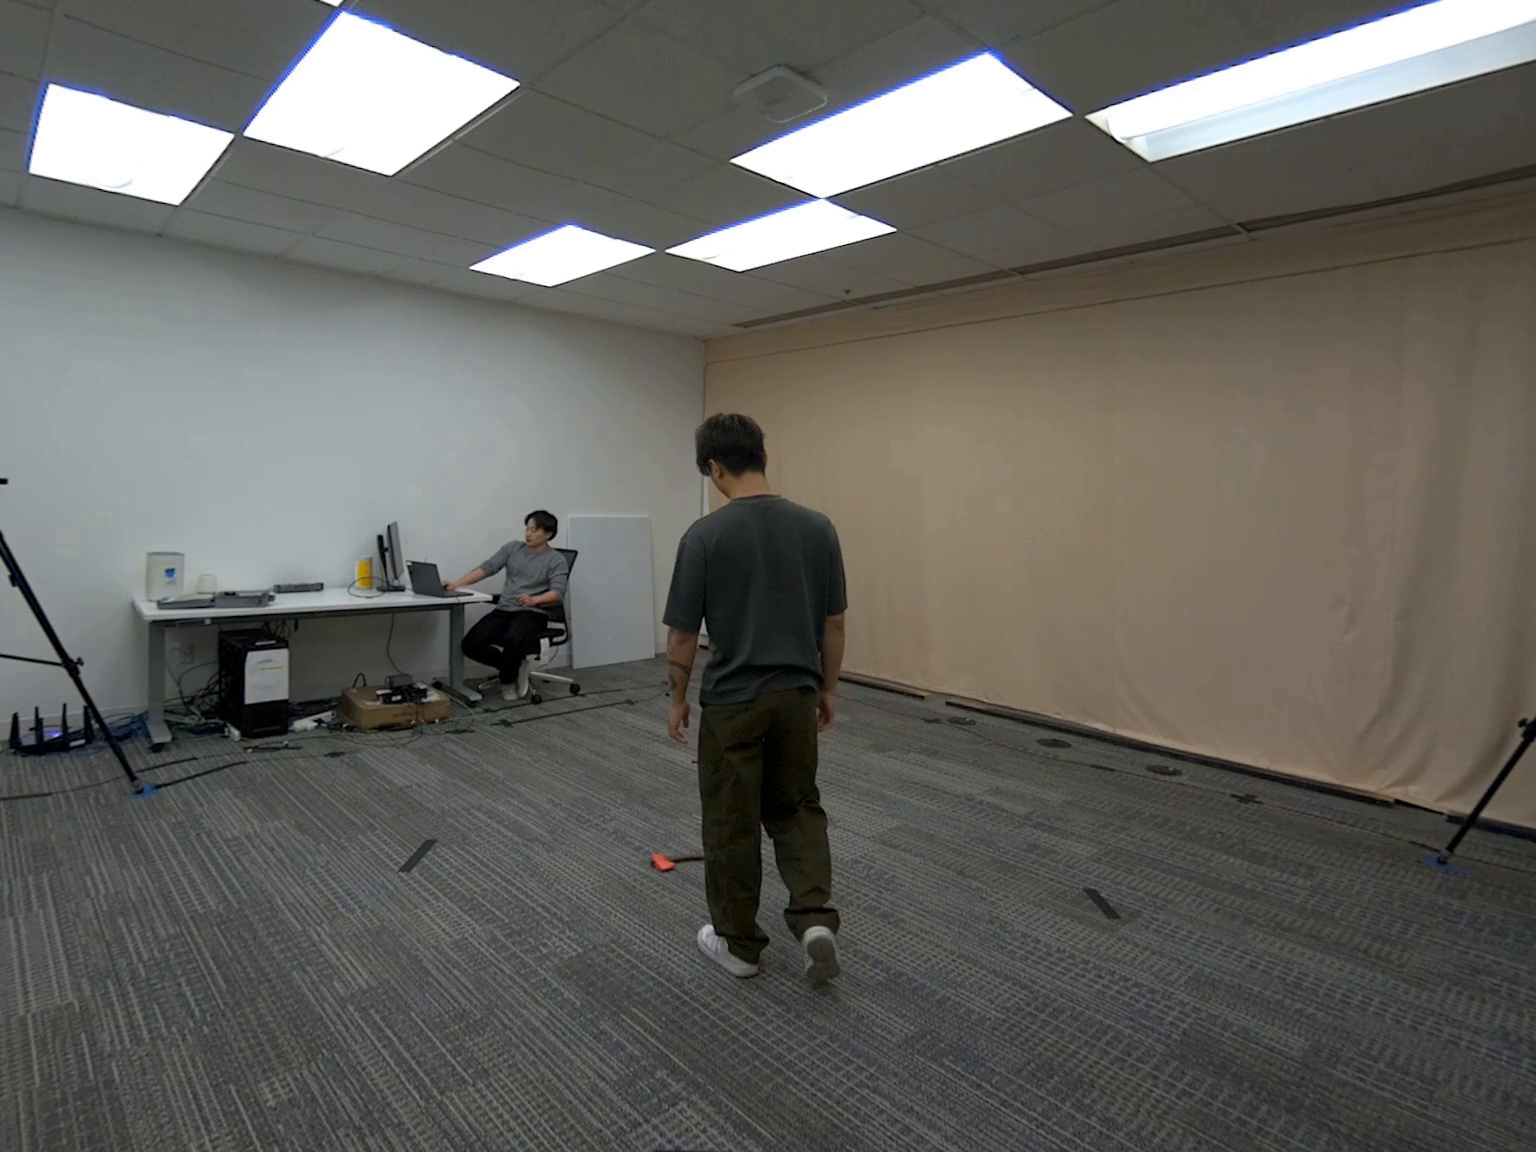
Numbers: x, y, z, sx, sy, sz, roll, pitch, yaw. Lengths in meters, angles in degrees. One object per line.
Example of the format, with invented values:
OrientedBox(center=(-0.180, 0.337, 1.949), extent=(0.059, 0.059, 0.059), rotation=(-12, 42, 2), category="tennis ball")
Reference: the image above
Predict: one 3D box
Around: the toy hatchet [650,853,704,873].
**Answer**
OrientedBox(center=(-0.318, 1.085, 3.184), extent=(0.269, 0.029, 0.132), rotation=(2, 4, -4), category="toy hatchet")
